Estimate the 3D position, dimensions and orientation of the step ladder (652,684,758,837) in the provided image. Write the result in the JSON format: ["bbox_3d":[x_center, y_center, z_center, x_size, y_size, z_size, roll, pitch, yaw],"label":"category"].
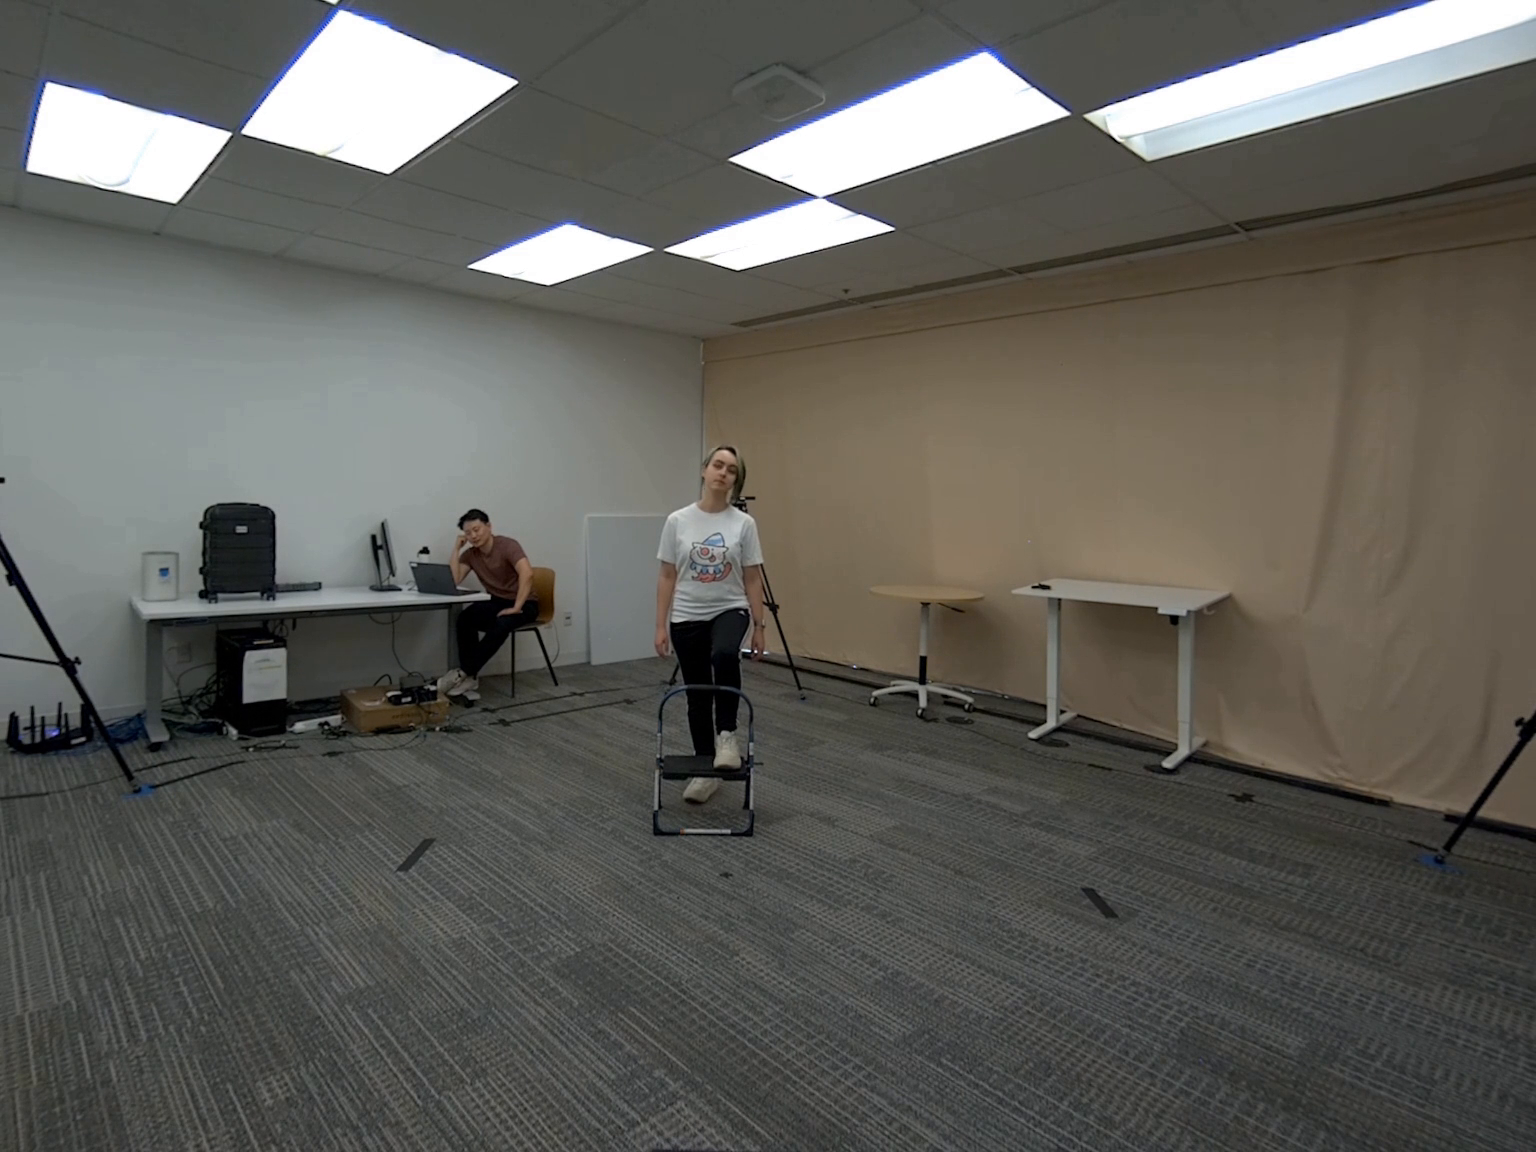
[{"bbox_3d":[-0.284,0.760,3.616,0.429,0.605,0.351,1,3,-4],"label":"step ladder"}]
